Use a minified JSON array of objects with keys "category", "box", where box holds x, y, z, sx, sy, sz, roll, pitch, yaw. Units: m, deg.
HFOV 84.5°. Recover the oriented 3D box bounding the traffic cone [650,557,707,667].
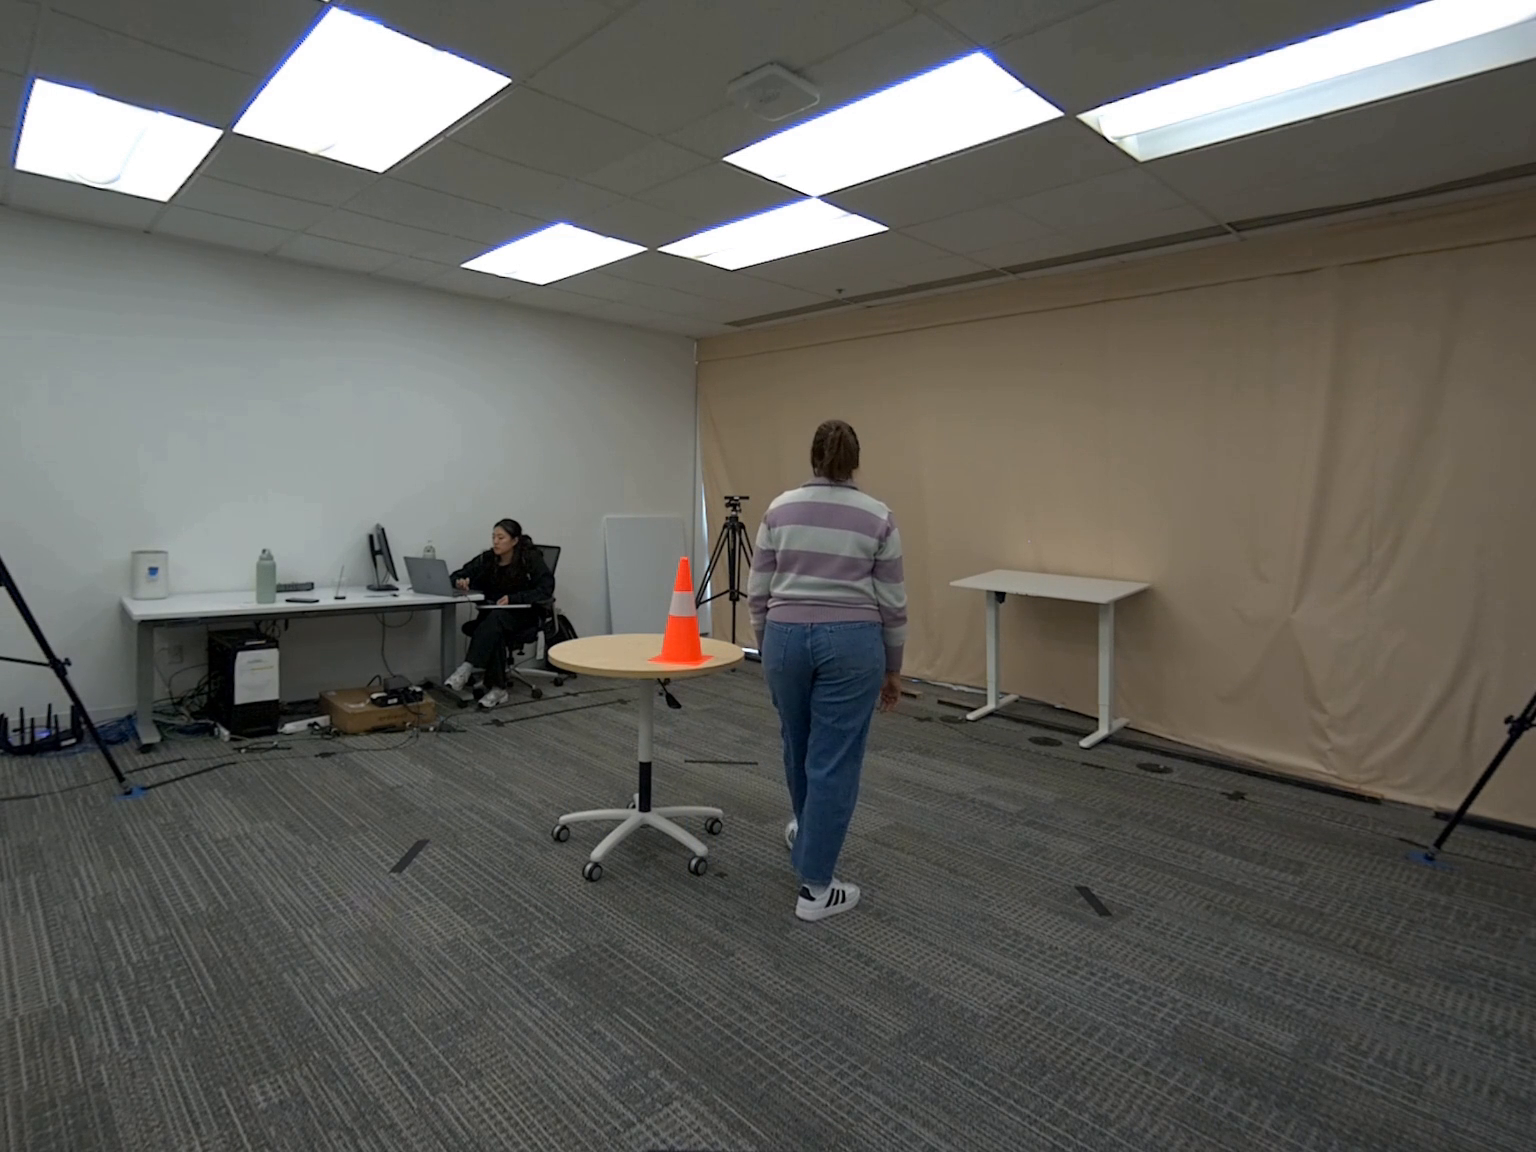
[{"category":"traffic cone","box":[-0.326,0.124,3.146,0.206,0.383,0.202,2,4,17]}]
